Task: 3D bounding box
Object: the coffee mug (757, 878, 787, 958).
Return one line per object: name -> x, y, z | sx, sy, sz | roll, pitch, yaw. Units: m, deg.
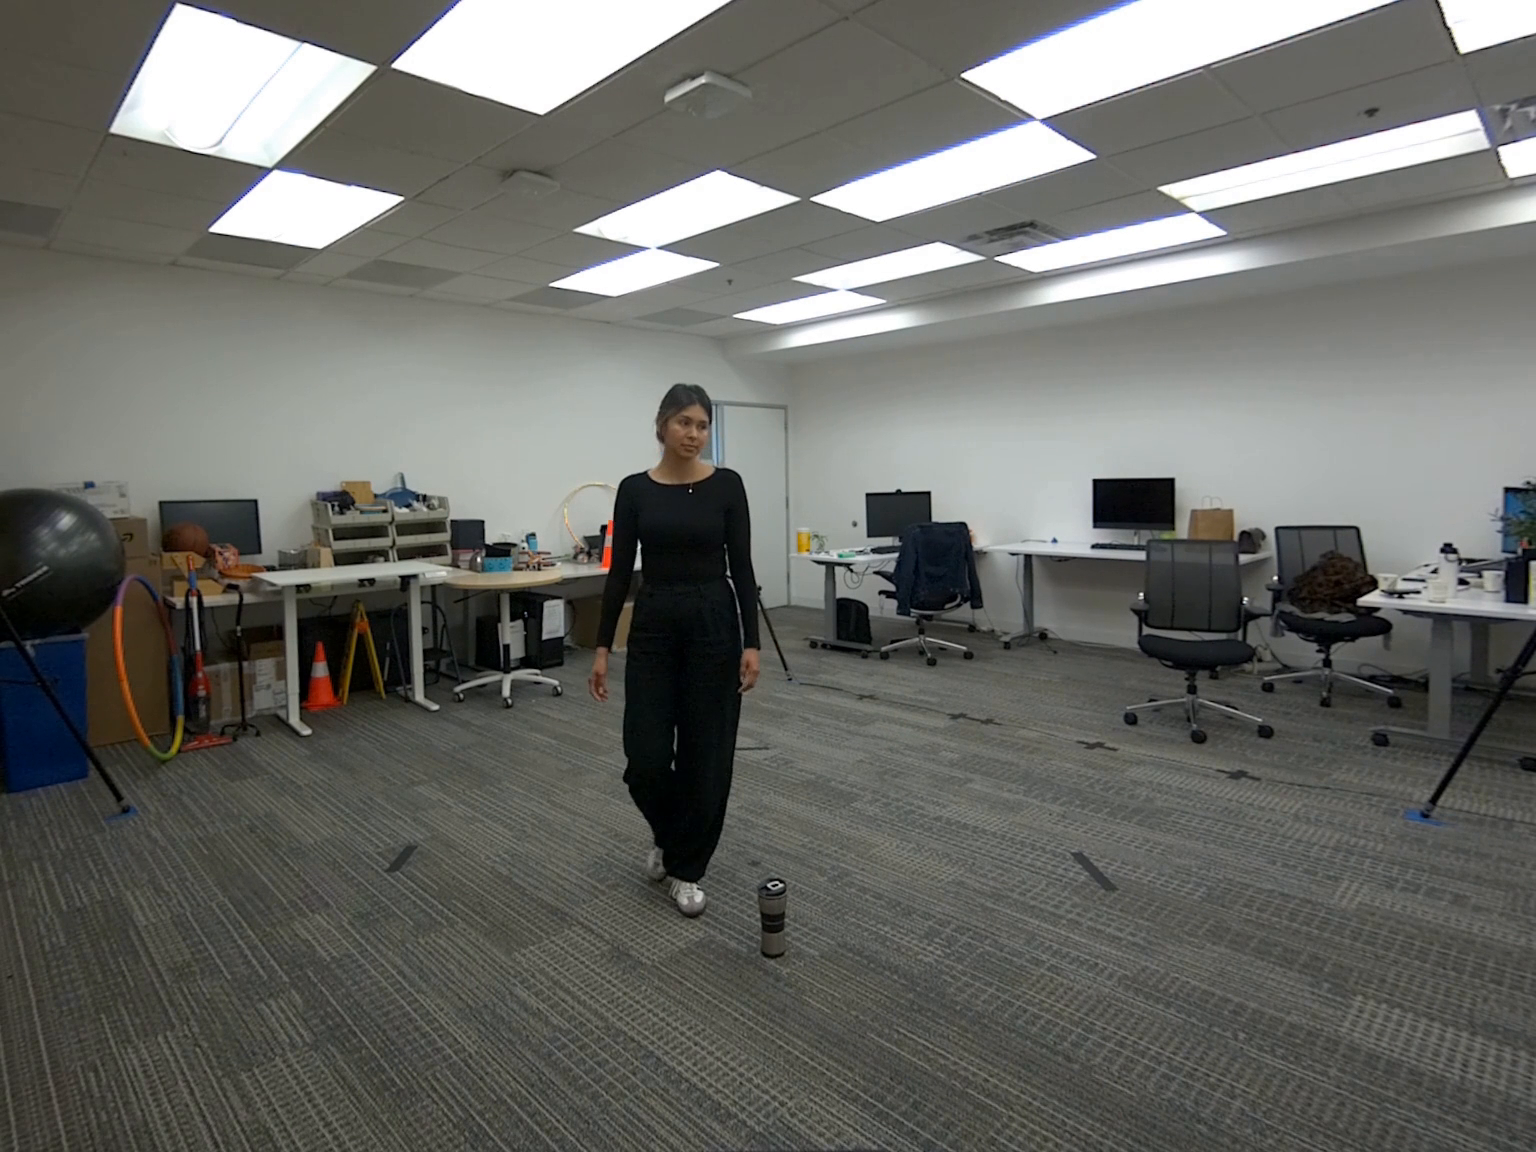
coffee mug -> 0.029, 1.016, 2.533 | 0.090, 0.202, 0.119 | -2, 6, 34
